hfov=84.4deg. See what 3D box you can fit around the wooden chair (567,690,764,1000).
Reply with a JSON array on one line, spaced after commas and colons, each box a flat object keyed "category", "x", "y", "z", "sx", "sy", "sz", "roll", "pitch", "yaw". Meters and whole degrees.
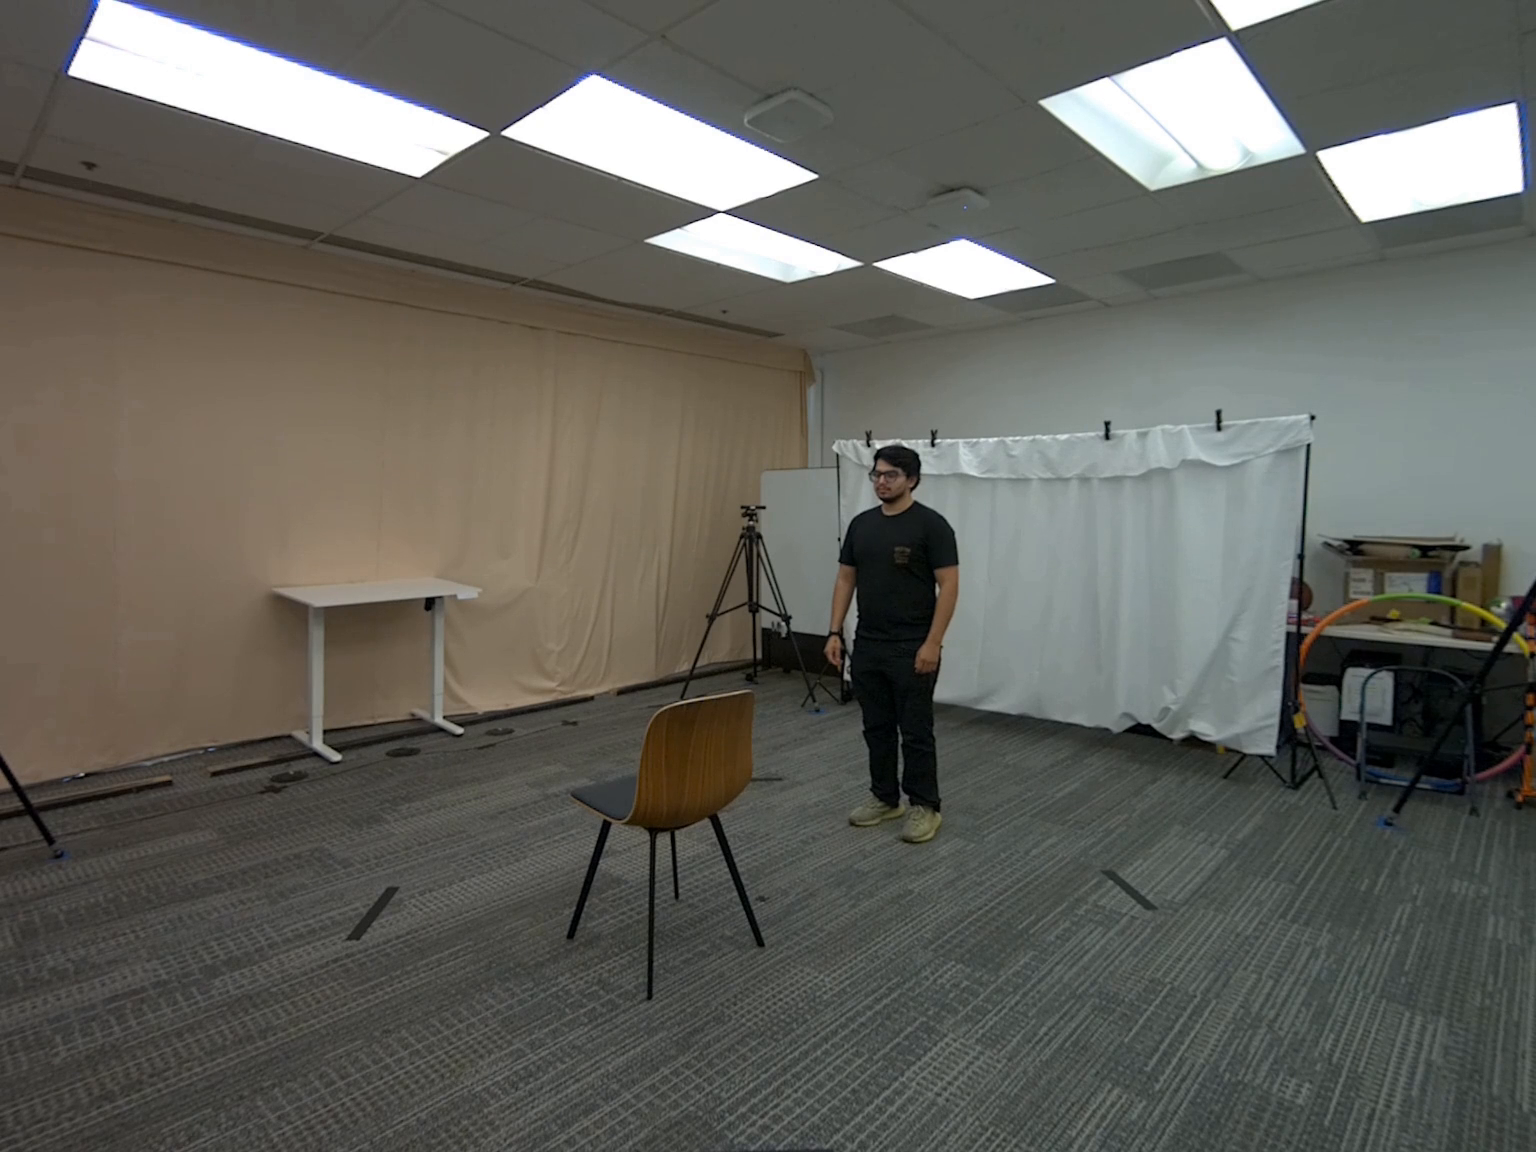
[{"category": "wooden chair", "x": -0.334, "y": 0.743, "z": 2.666, "sx": 0.463, "sy": 0.874, "sz": 0.541, "roll": -3, "pitch": 9, "yaw": -42}]
